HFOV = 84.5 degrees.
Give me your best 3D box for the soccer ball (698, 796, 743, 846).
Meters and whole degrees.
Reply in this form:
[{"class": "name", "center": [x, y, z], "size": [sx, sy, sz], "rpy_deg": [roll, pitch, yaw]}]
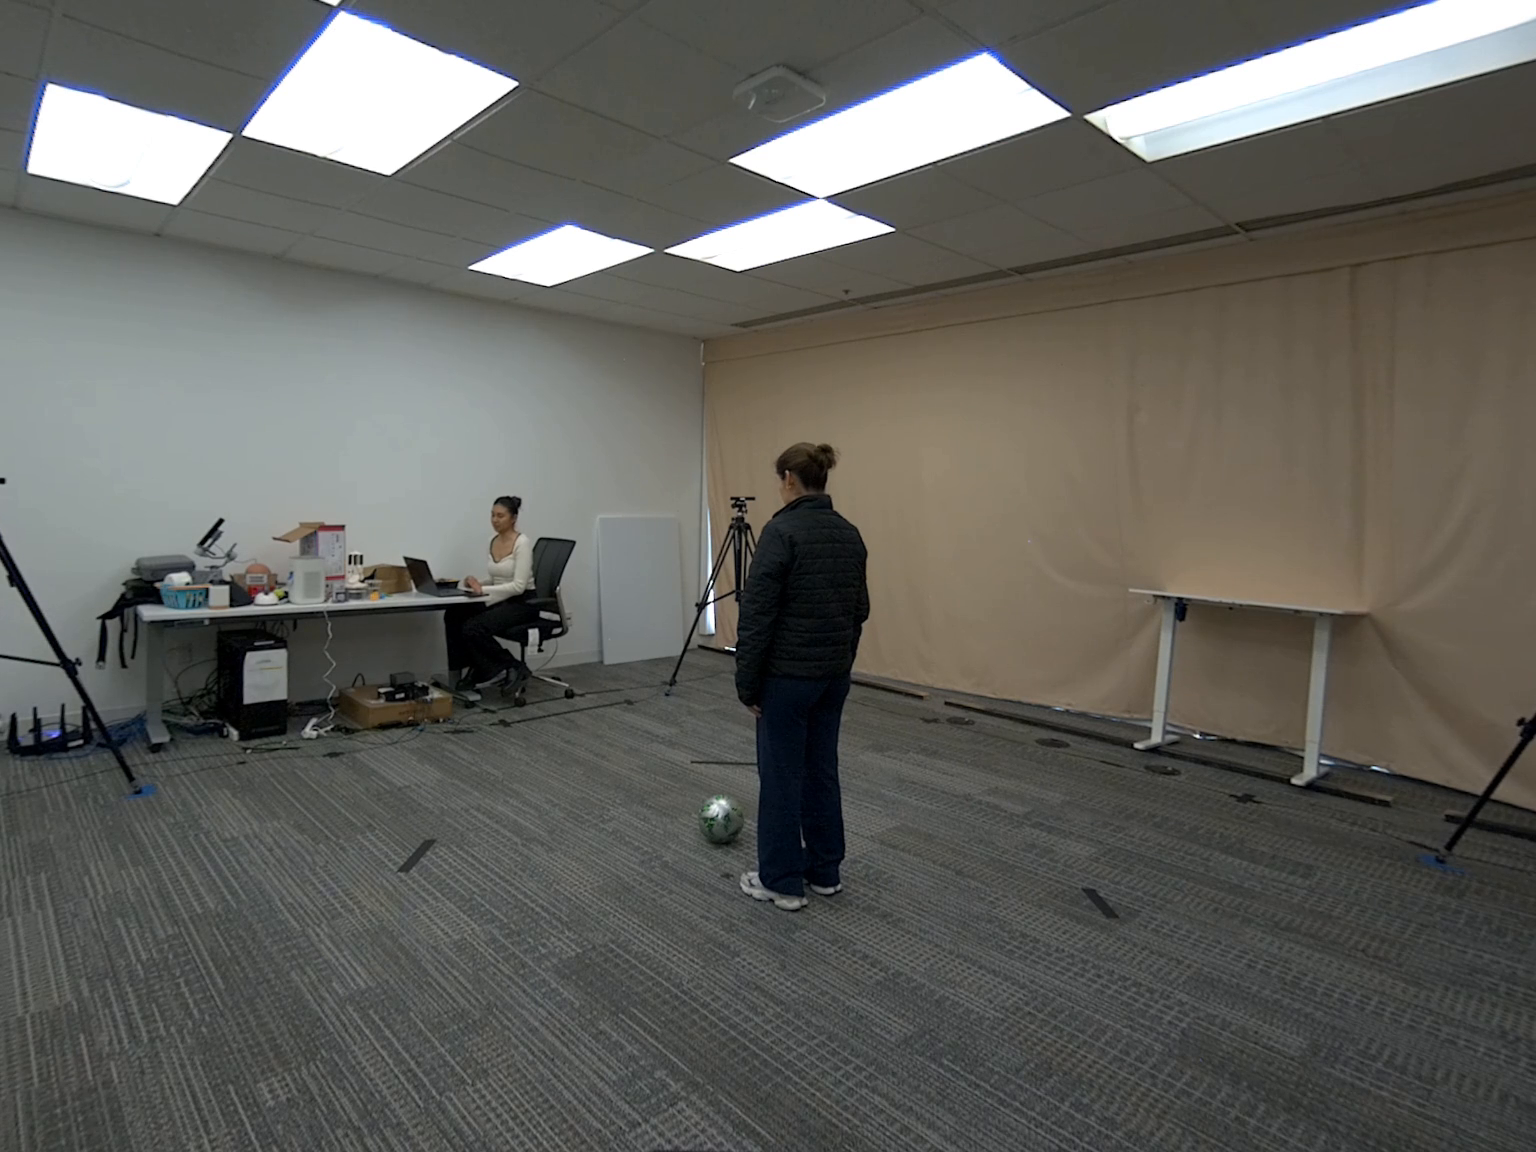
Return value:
[{"class": "soccer ball", "center": [-0.198, 0.985, 3.415], "size": [0.187, 0.187, 0.188], "rpy_deg": [1, 4, -1]}]
